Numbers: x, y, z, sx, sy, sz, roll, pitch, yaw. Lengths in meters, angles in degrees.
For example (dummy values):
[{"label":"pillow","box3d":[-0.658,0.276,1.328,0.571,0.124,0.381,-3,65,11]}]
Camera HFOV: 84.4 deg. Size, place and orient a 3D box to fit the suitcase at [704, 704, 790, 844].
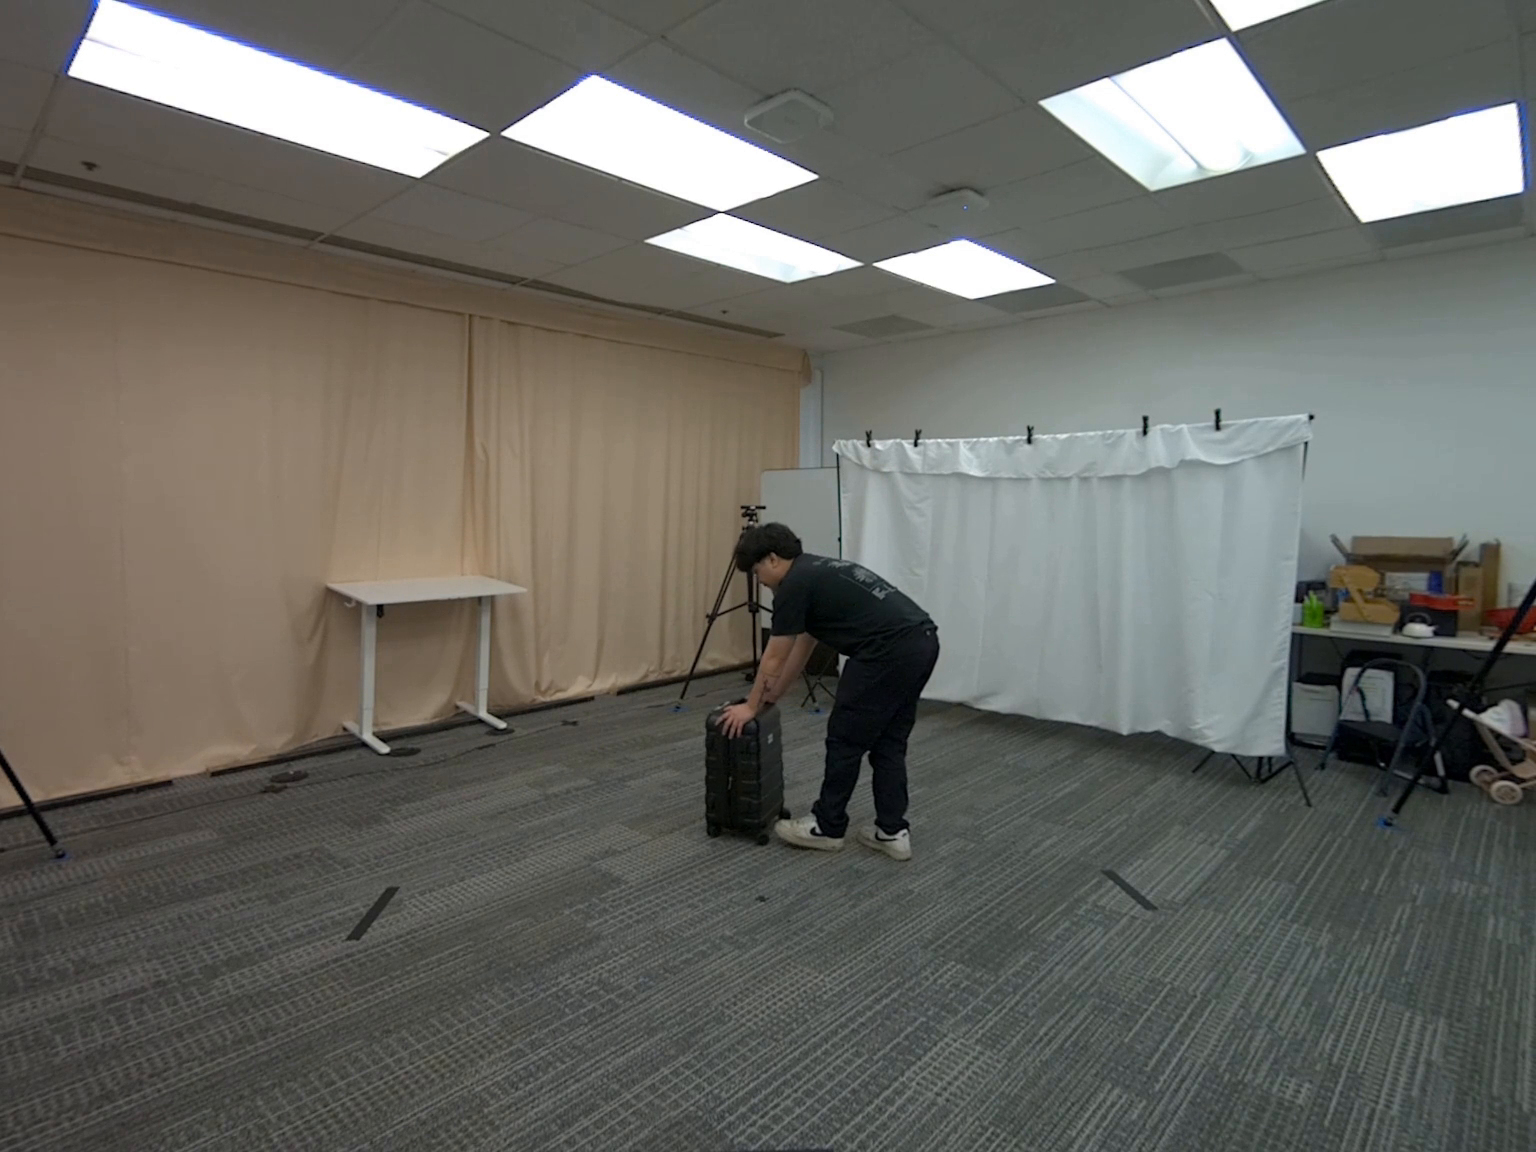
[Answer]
[{"label":"suitcase","box3d":[-0.099,0.814,3.632,0.254,0.548,0.367,-1,3,23]}]
